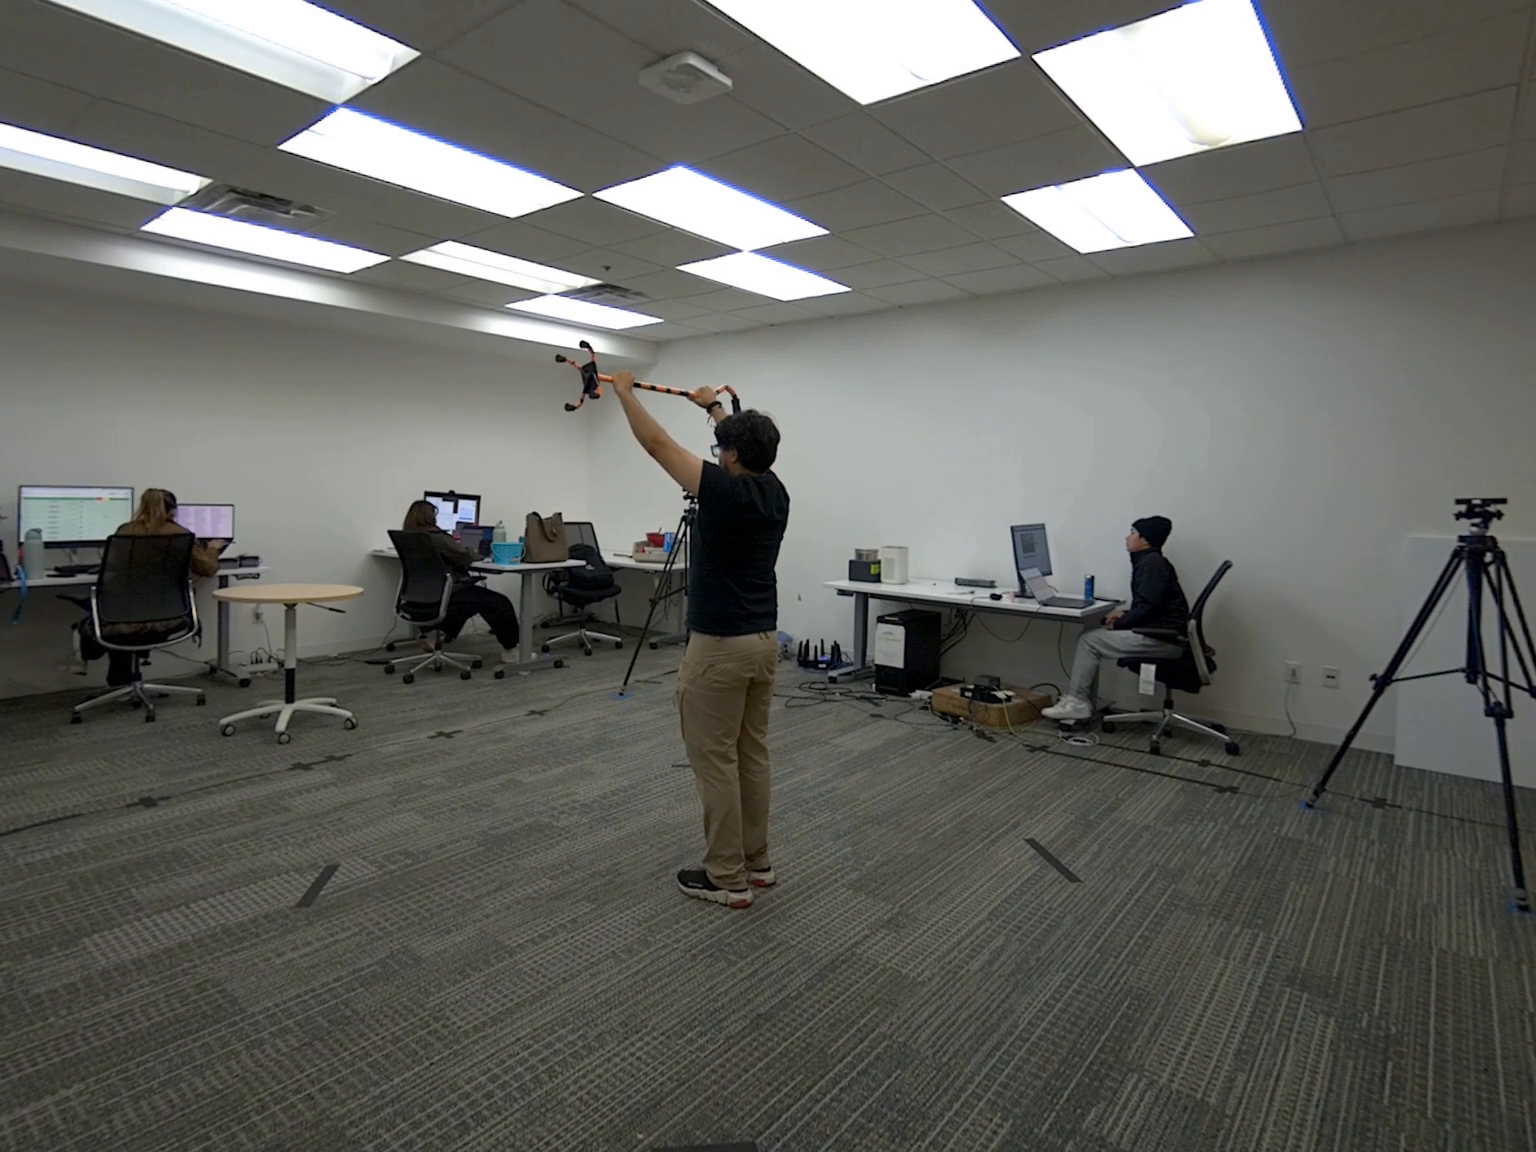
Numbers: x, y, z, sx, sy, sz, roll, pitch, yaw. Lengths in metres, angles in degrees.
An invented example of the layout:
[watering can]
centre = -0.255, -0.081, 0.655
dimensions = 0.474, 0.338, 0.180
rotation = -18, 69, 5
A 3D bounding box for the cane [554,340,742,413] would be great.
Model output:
[cane]
centre = -0.402, -0.700, 3.208
dimensions = 0.155, 0.208, 0.882
rotation = -16, -6, 36
